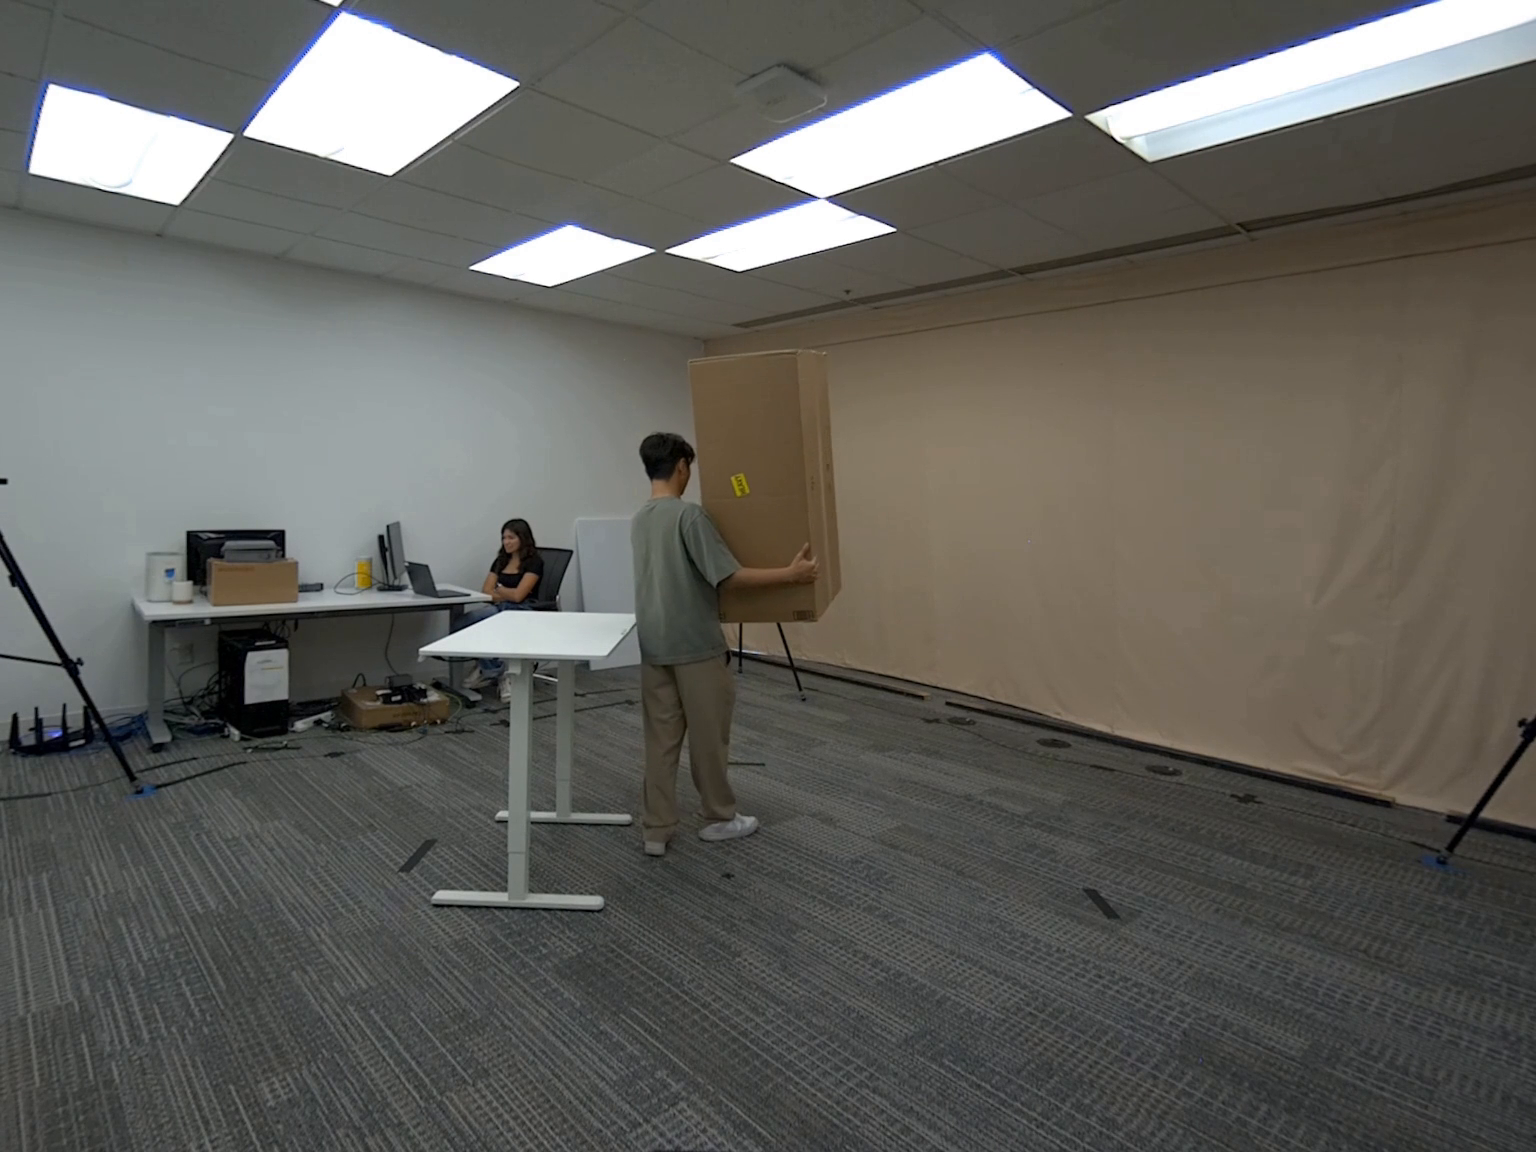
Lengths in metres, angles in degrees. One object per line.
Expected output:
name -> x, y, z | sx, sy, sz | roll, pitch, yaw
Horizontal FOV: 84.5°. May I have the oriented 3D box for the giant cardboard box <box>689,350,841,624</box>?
giant cardboard box -> 0.007, -0.376, 3.444 | 0.431, 1.017, 0.575 | -2, 11, 16
